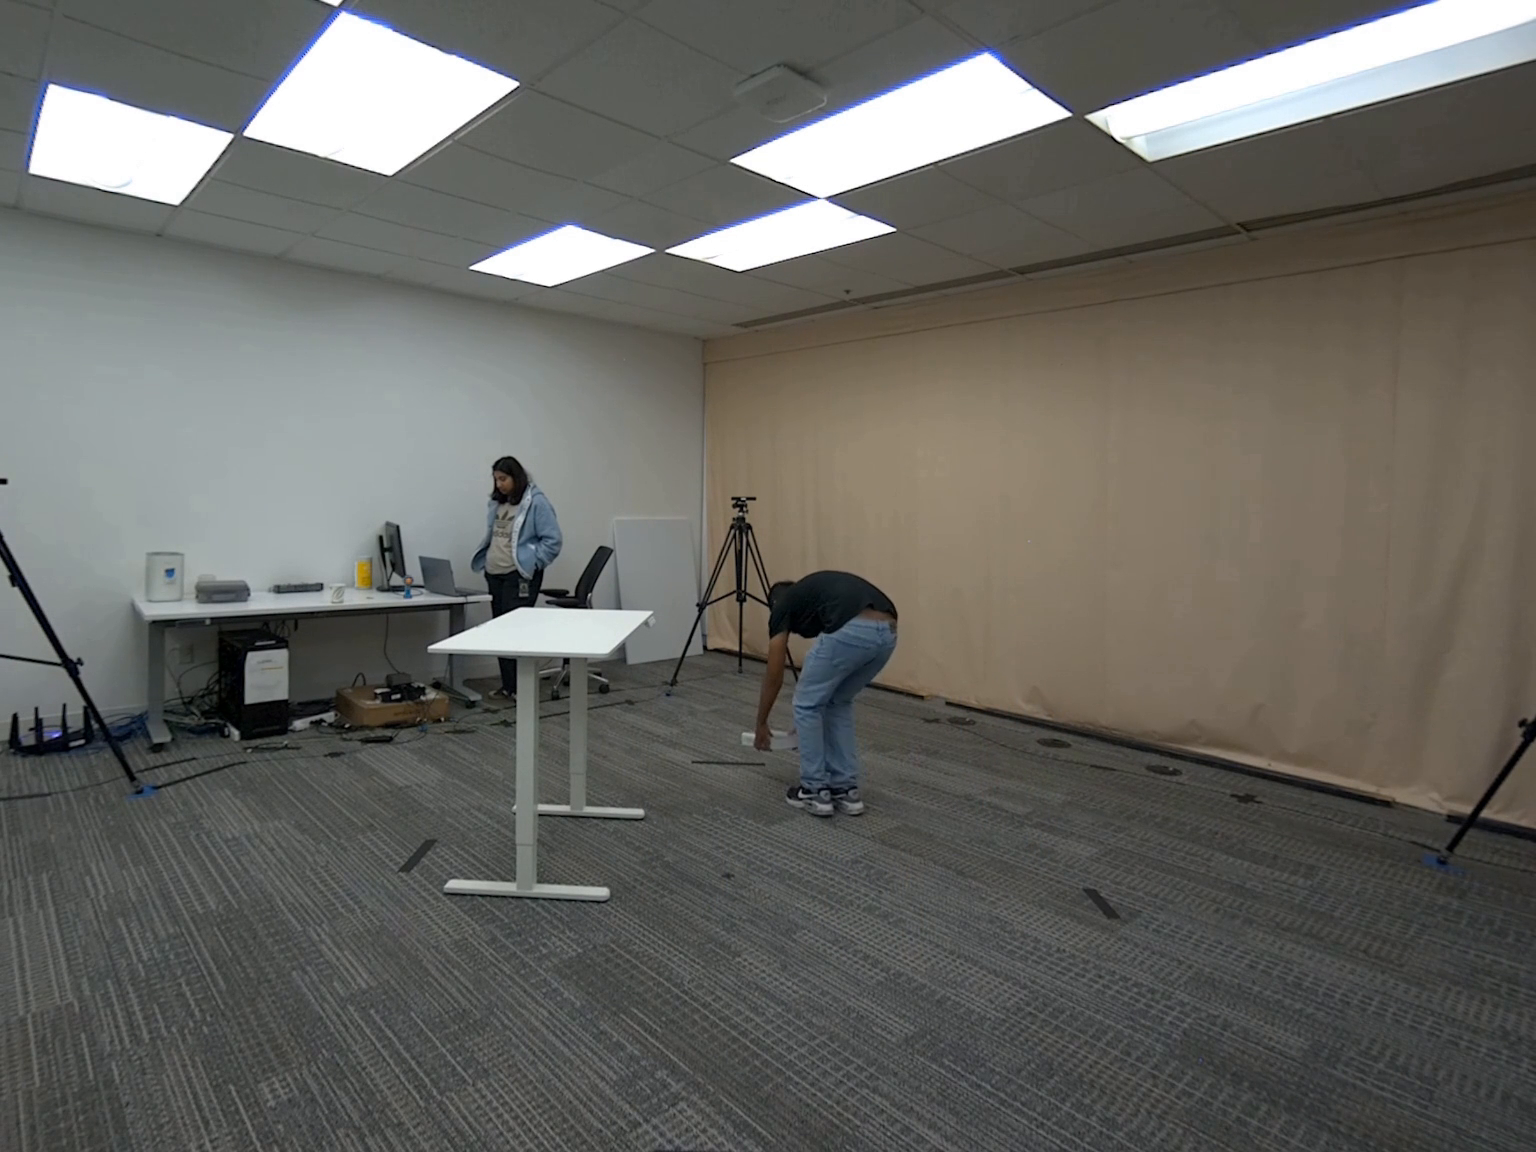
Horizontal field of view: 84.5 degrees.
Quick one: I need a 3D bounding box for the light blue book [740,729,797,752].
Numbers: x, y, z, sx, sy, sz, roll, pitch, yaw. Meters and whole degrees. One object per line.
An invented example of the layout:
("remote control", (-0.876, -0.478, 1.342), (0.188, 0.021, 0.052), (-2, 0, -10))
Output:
("light blue book", (0.021, 0.787, 4.128), (0.187, 0.059, 0.266), (1, -3, -41))
